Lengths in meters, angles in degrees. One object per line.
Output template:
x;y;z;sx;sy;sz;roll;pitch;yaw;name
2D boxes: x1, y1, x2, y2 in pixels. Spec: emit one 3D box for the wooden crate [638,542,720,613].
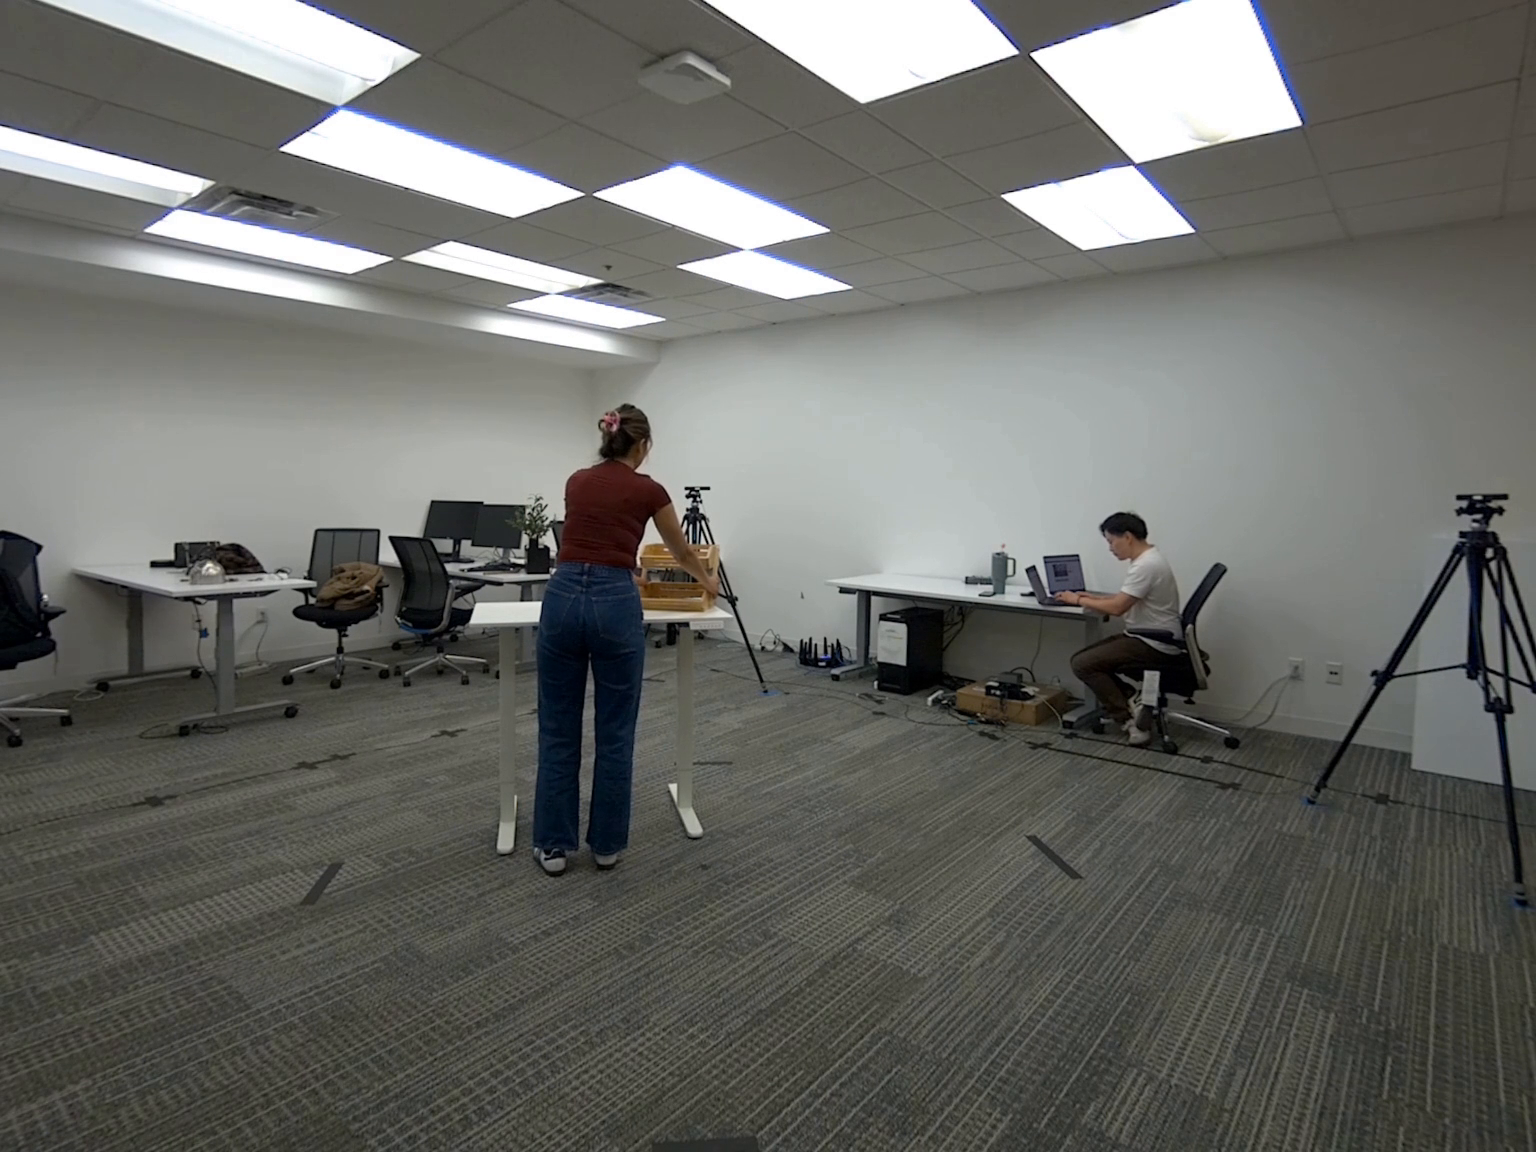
-0.402;-0.003;3.610;0.328;0.272;0.300;2;4;9;wooden crate
